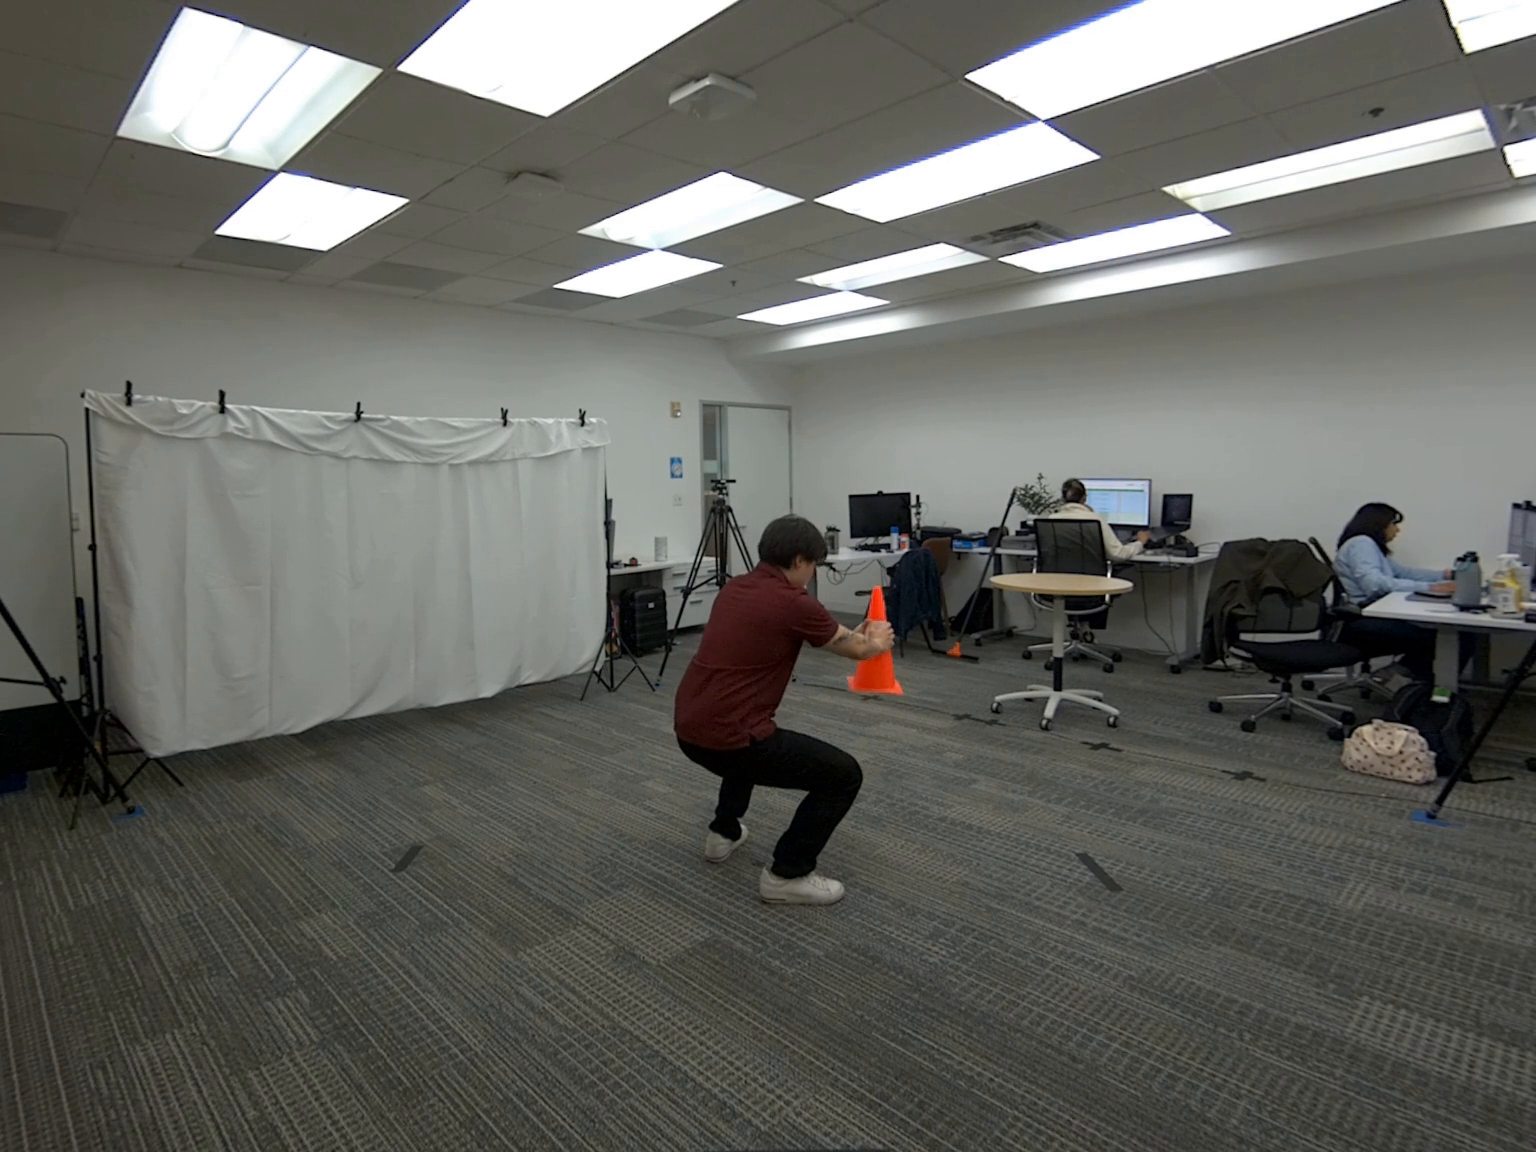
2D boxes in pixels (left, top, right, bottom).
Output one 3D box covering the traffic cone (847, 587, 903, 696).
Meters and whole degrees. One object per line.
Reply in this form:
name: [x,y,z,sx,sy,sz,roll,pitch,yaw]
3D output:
traffic cone: [0.415,0.235,3.271,0.203,0.381,0.206,1,6,0]
